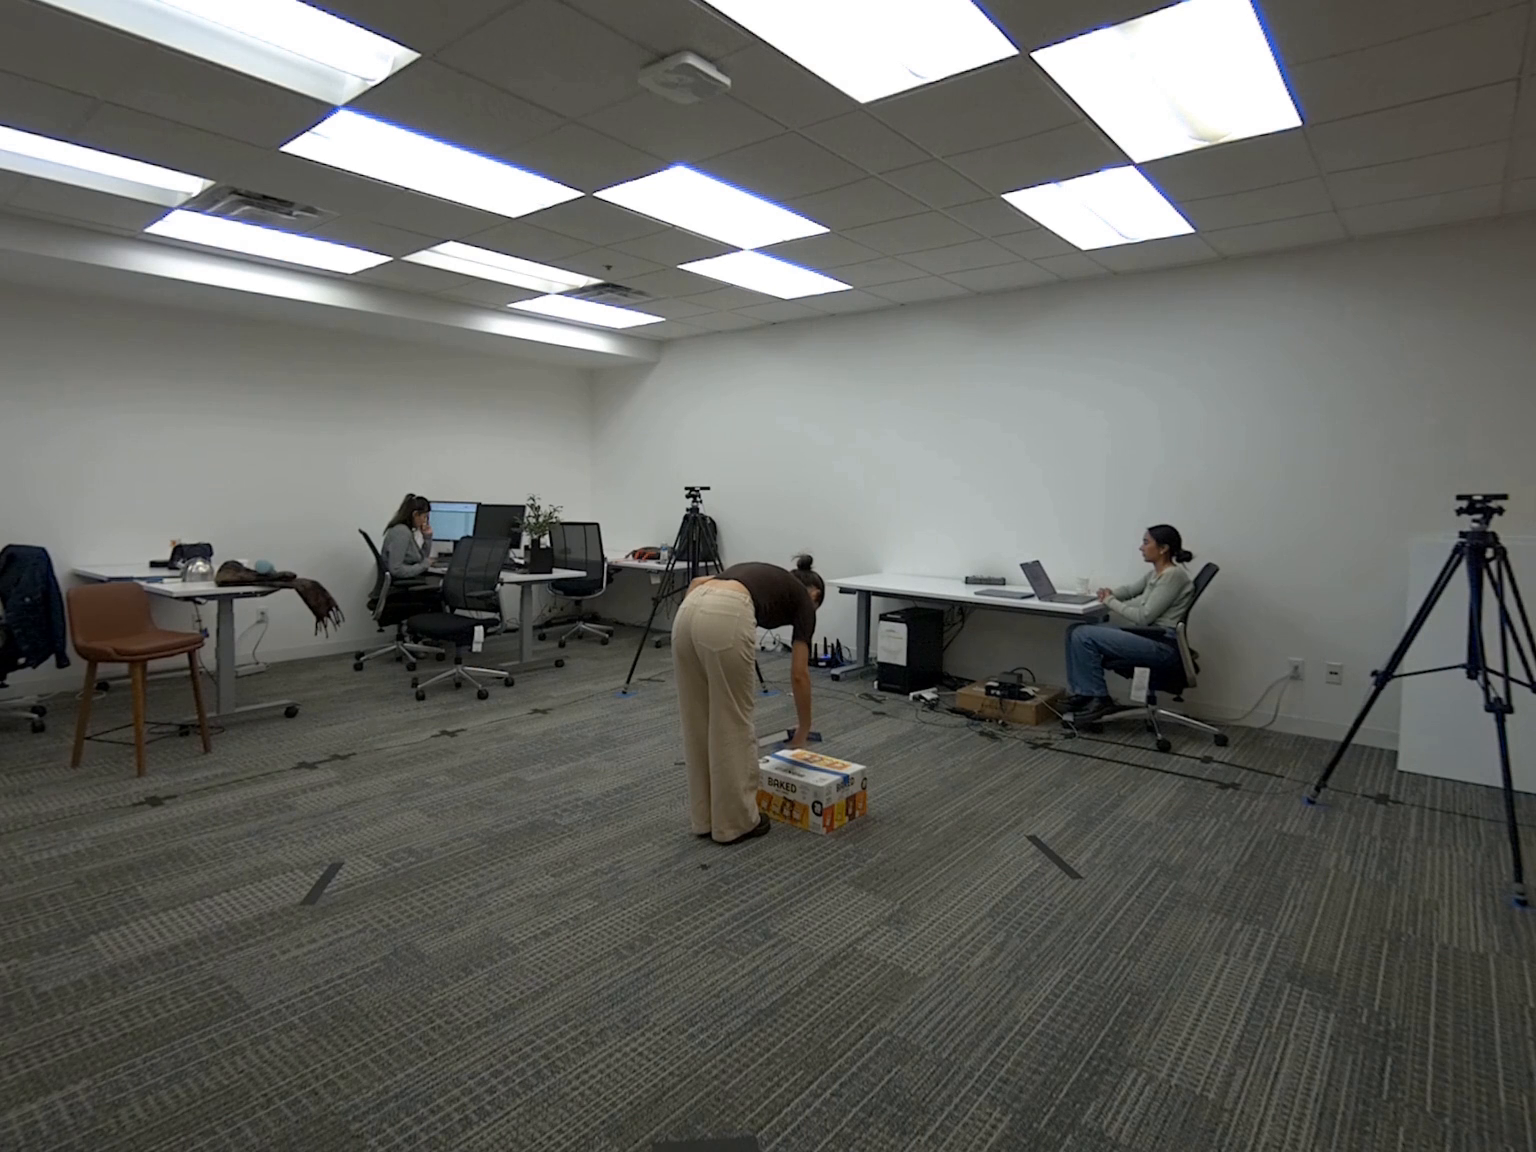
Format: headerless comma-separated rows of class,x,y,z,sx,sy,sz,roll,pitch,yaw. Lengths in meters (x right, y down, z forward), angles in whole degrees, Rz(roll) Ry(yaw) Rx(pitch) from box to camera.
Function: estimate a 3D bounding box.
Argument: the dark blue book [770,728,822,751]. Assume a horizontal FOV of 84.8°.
dark blue book,0.085,0.706,3.662,0.166,0.046,0.236,-24,-25,37
